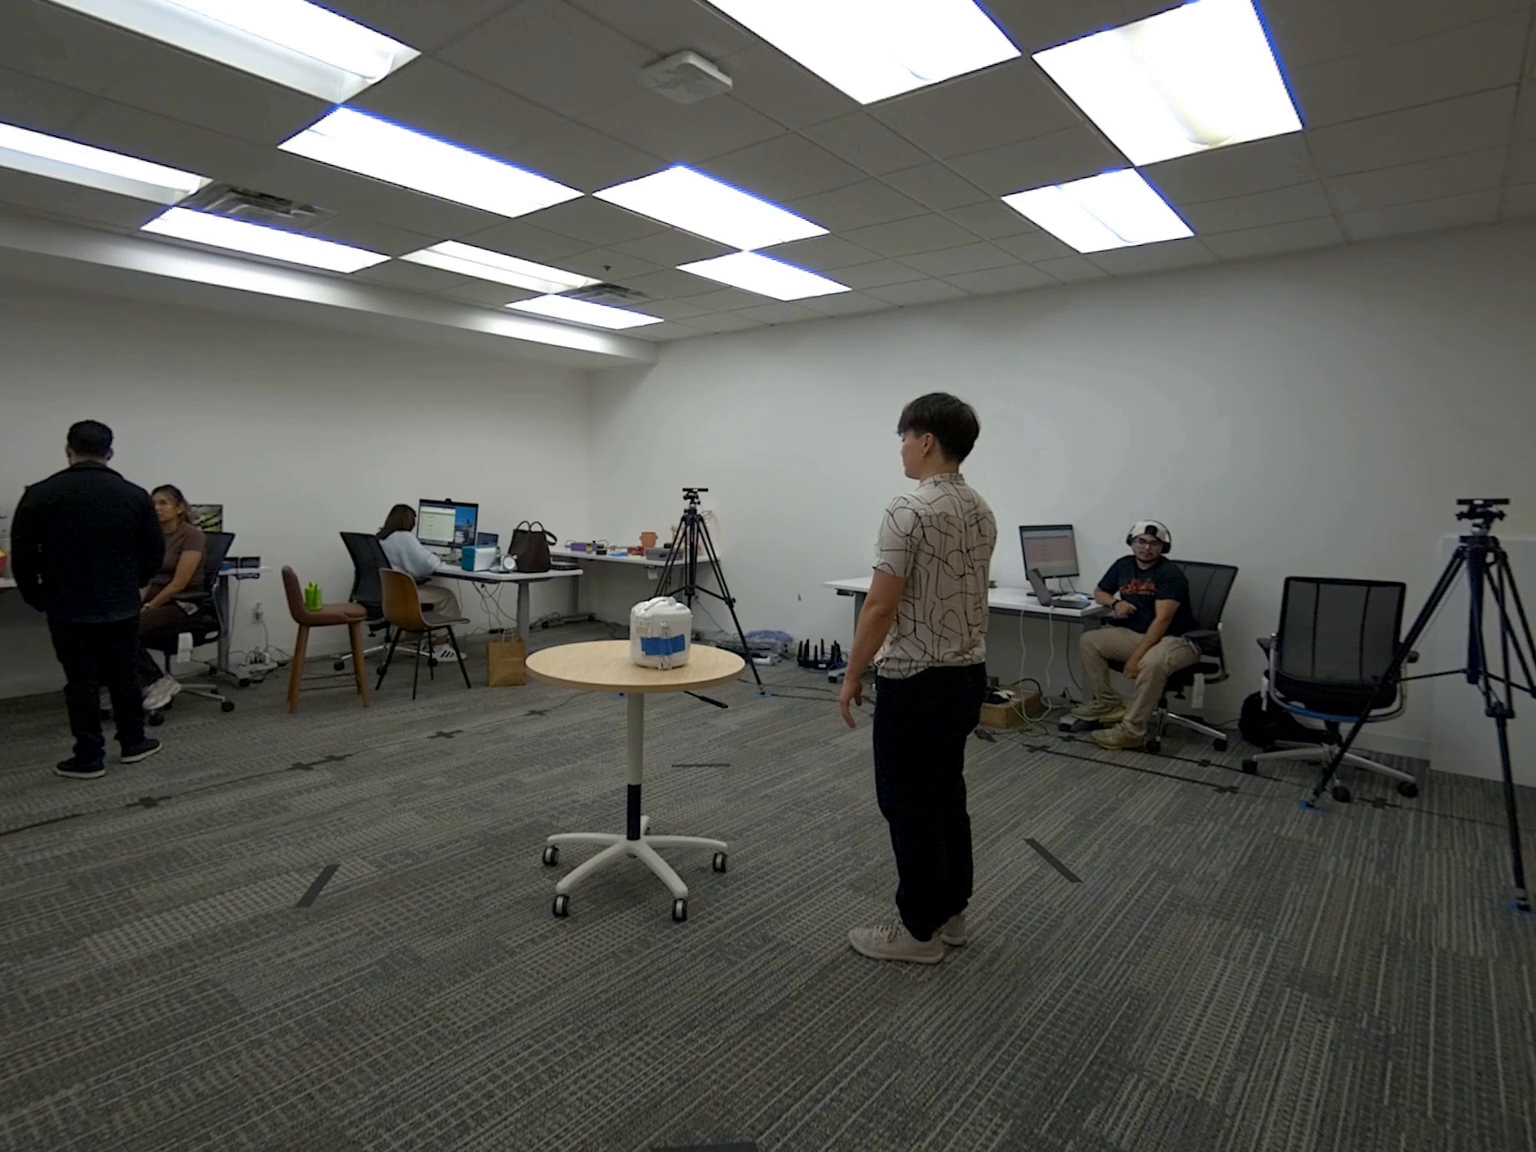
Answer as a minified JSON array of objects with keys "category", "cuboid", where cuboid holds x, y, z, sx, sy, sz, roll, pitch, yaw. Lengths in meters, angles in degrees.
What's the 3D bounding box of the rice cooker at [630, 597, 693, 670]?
[{"category":"rice cooker","cuboid":[-0.383,0.187,2.934,0.224,0.232,0.215,5,5,31]}]
